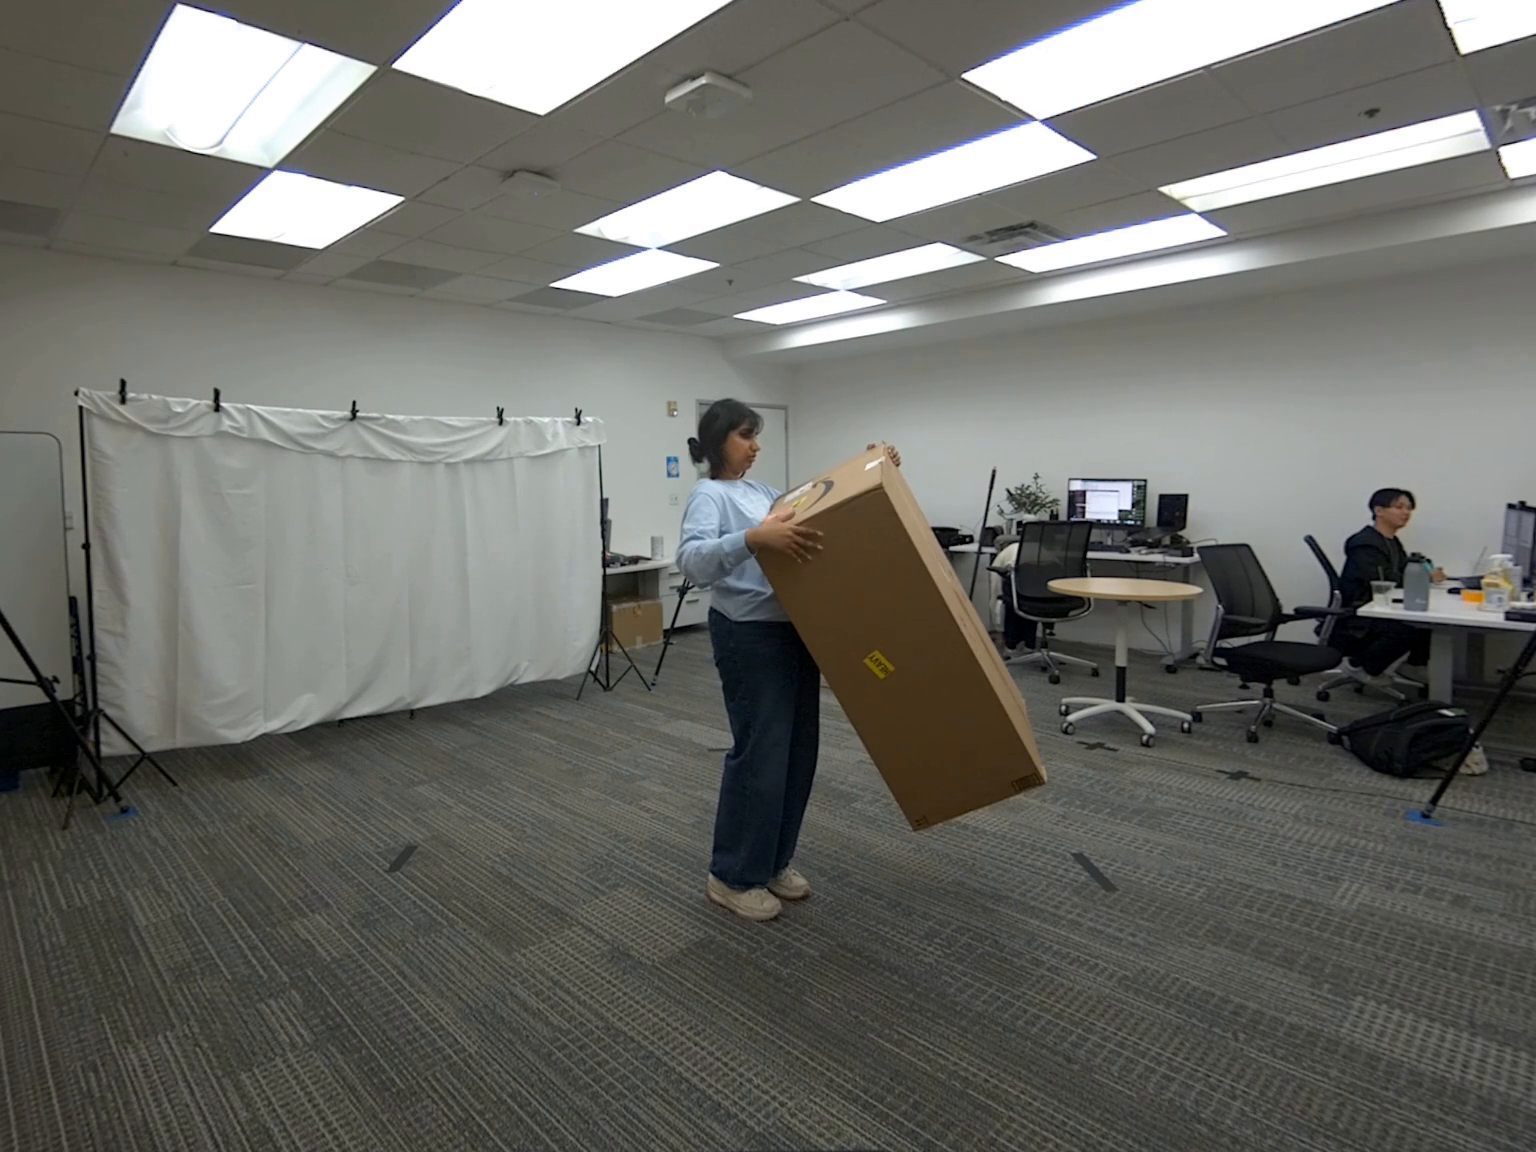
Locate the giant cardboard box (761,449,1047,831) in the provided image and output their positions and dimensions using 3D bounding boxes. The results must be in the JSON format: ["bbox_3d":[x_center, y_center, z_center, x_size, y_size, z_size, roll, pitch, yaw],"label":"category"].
[{"bbox_3d":[0.418,0.169,2.724,0.450,1.014,0.587,-27,11,18],"label":"giant cardboard box"}]
